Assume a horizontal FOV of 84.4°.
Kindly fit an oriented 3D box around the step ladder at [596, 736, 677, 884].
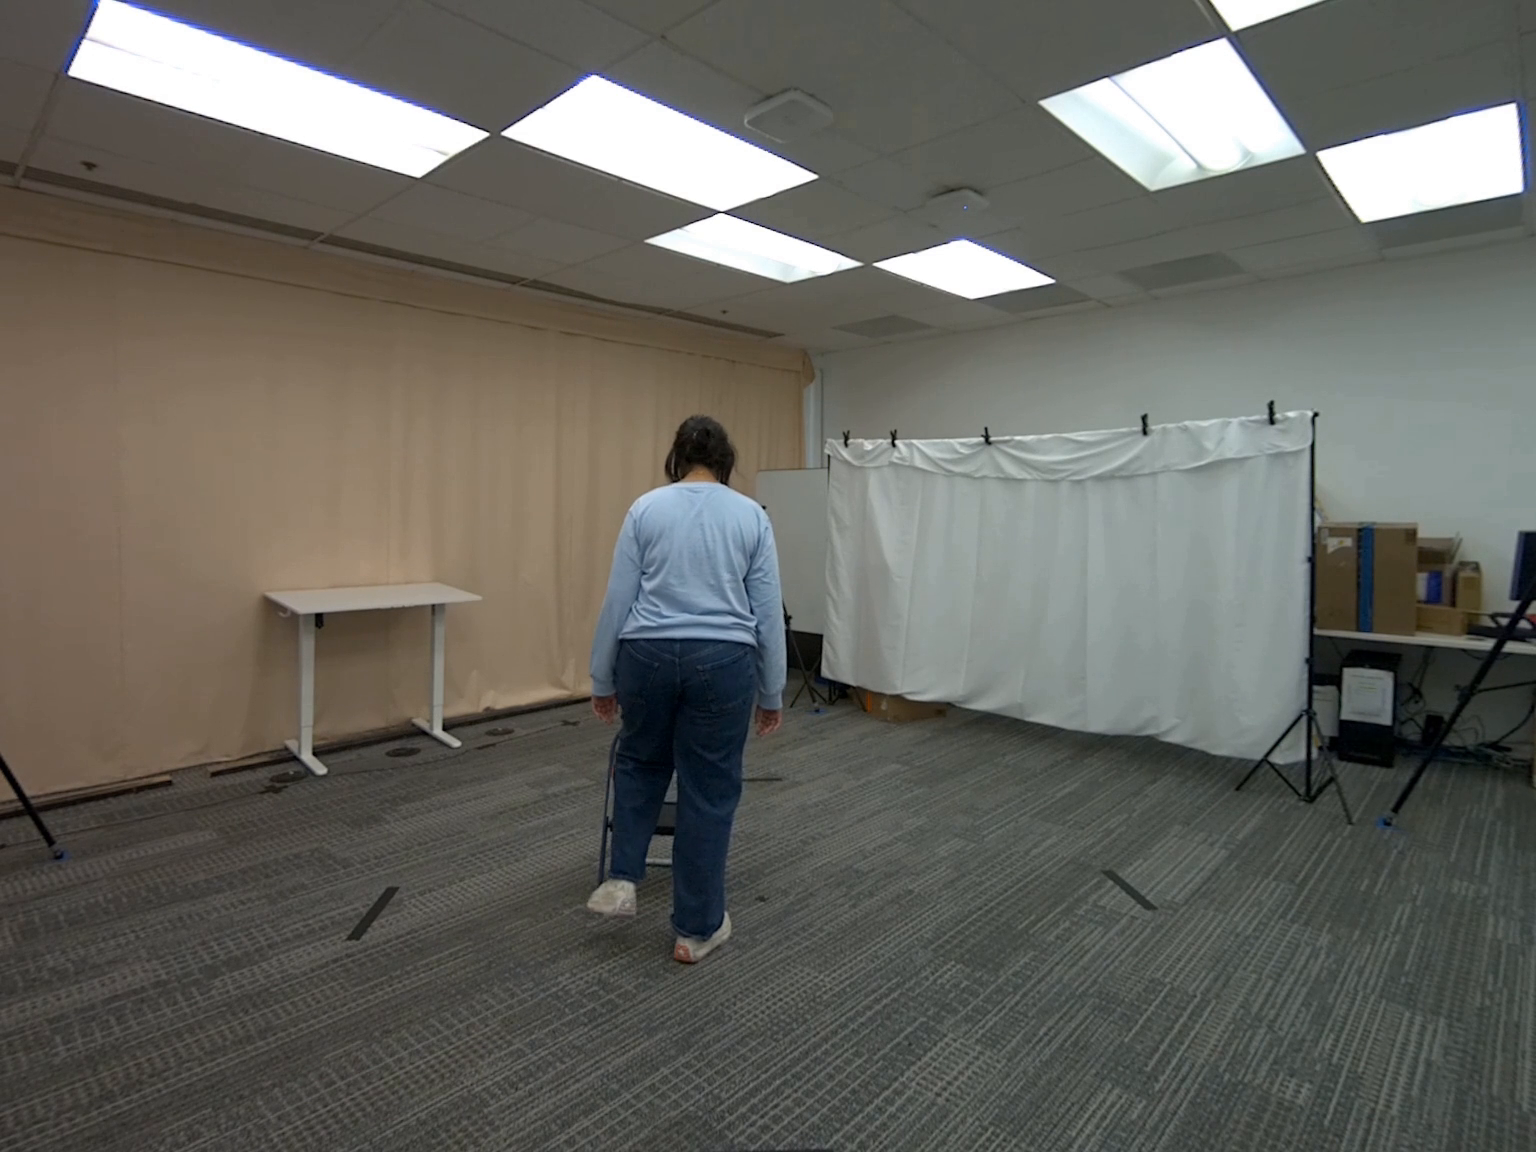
[{"bbox_3d":[-0.389,0.835,3.087,0.435,0.605,0.347,0,3,8],"label":"step ladder"}]
